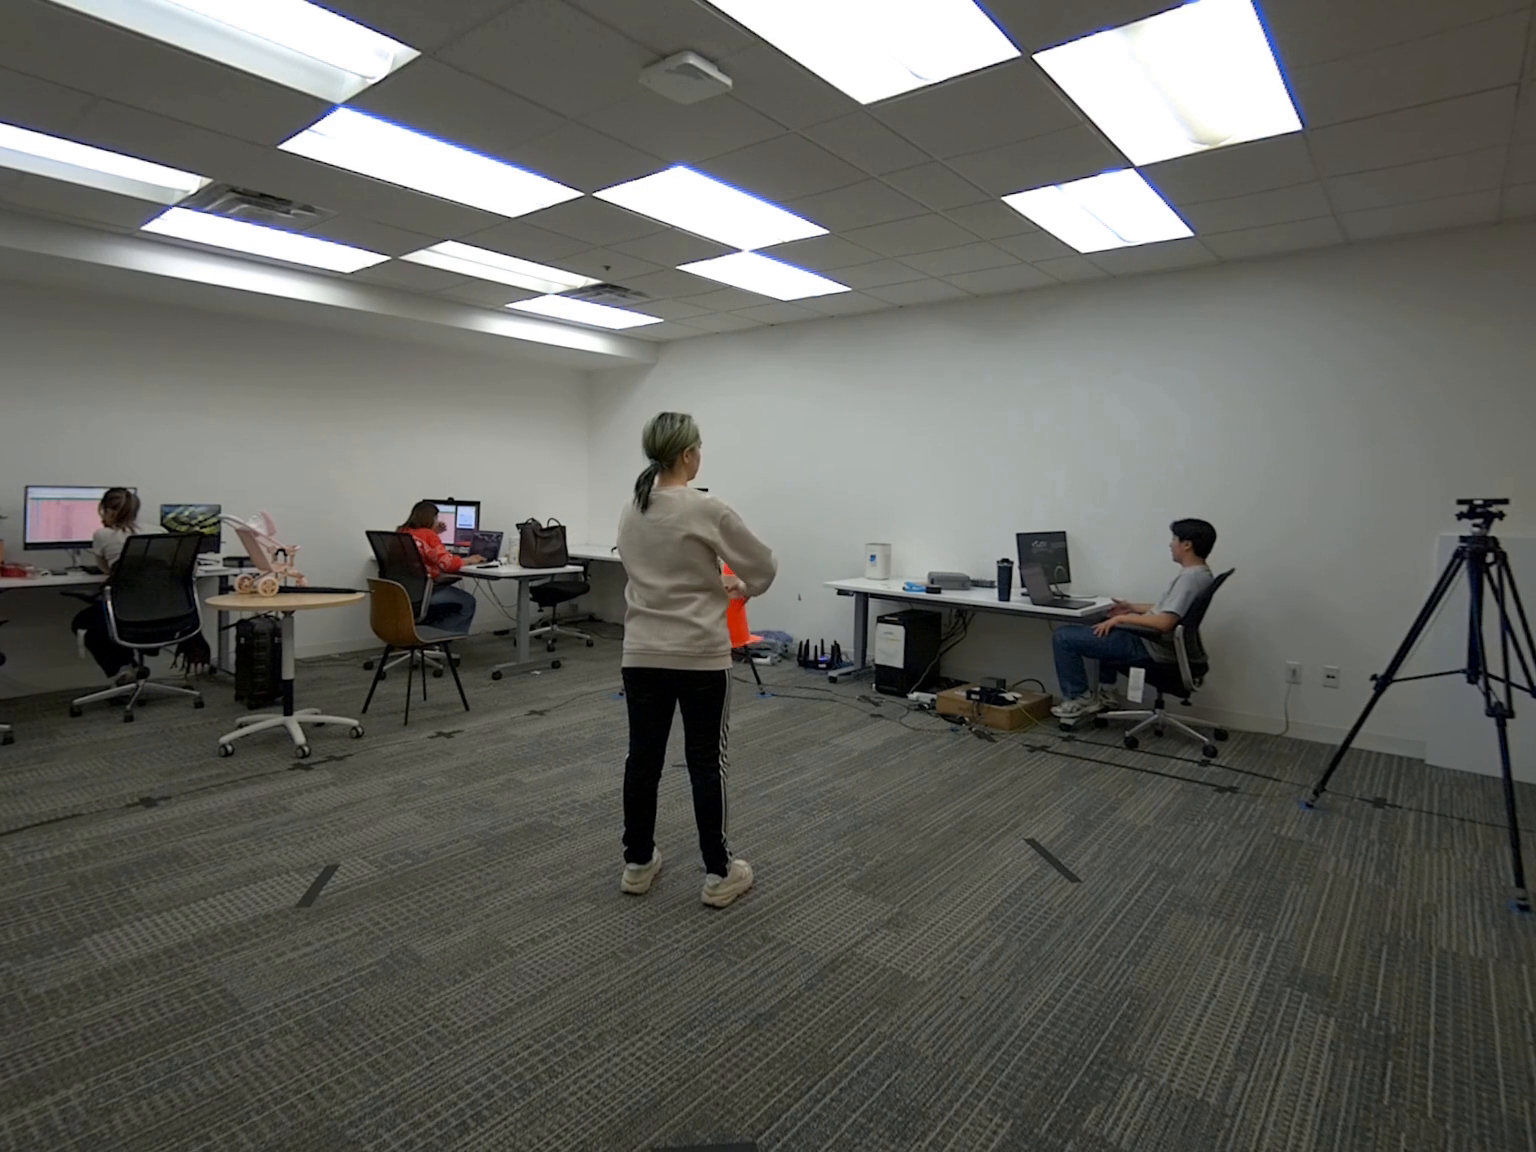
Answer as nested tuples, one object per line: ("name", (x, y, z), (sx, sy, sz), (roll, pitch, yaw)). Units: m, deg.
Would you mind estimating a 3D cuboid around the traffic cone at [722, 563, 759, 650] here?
("traffic cone", (-0.154, 0.047, 3.243), (0.197, 0.381, 0.212), (-5, 11, -43))
